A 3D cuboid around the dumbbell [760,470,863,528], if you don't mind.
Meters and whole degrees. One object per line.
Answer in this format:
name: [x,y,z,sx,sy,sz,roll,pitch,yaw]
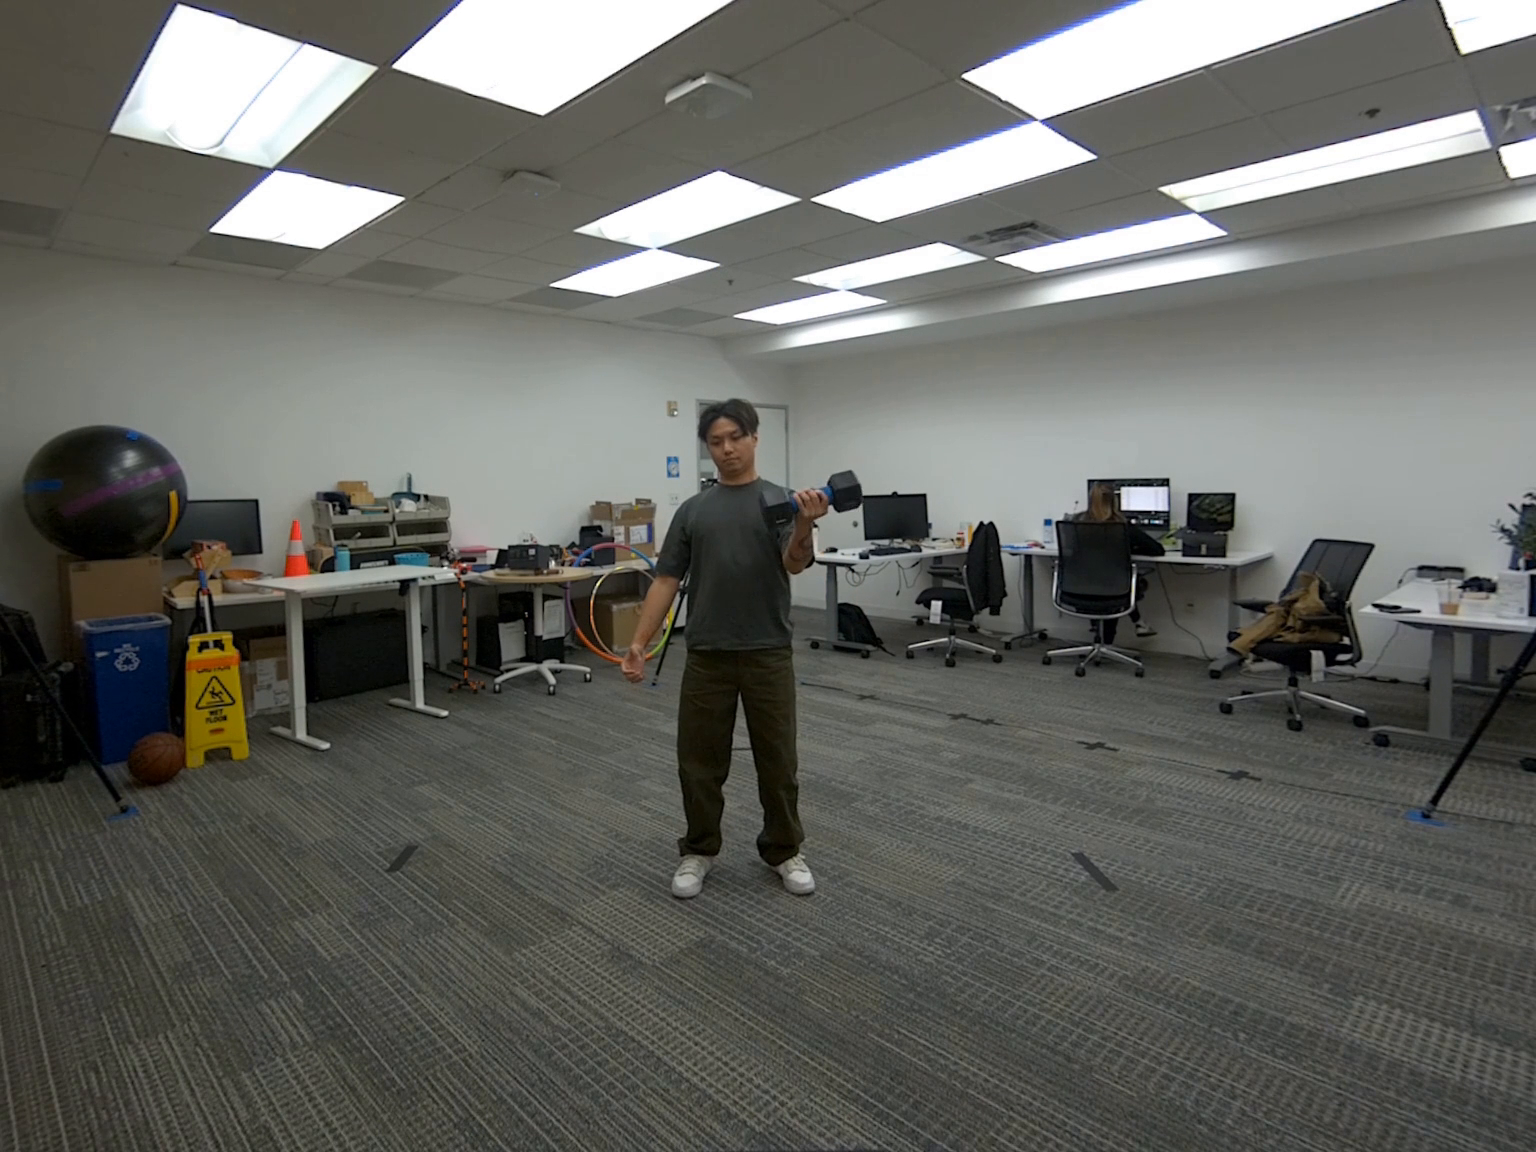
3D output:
dumbbell: [0.130,-0.224,2.513,0.292,0.127,0.105,-12,-38,-4]
